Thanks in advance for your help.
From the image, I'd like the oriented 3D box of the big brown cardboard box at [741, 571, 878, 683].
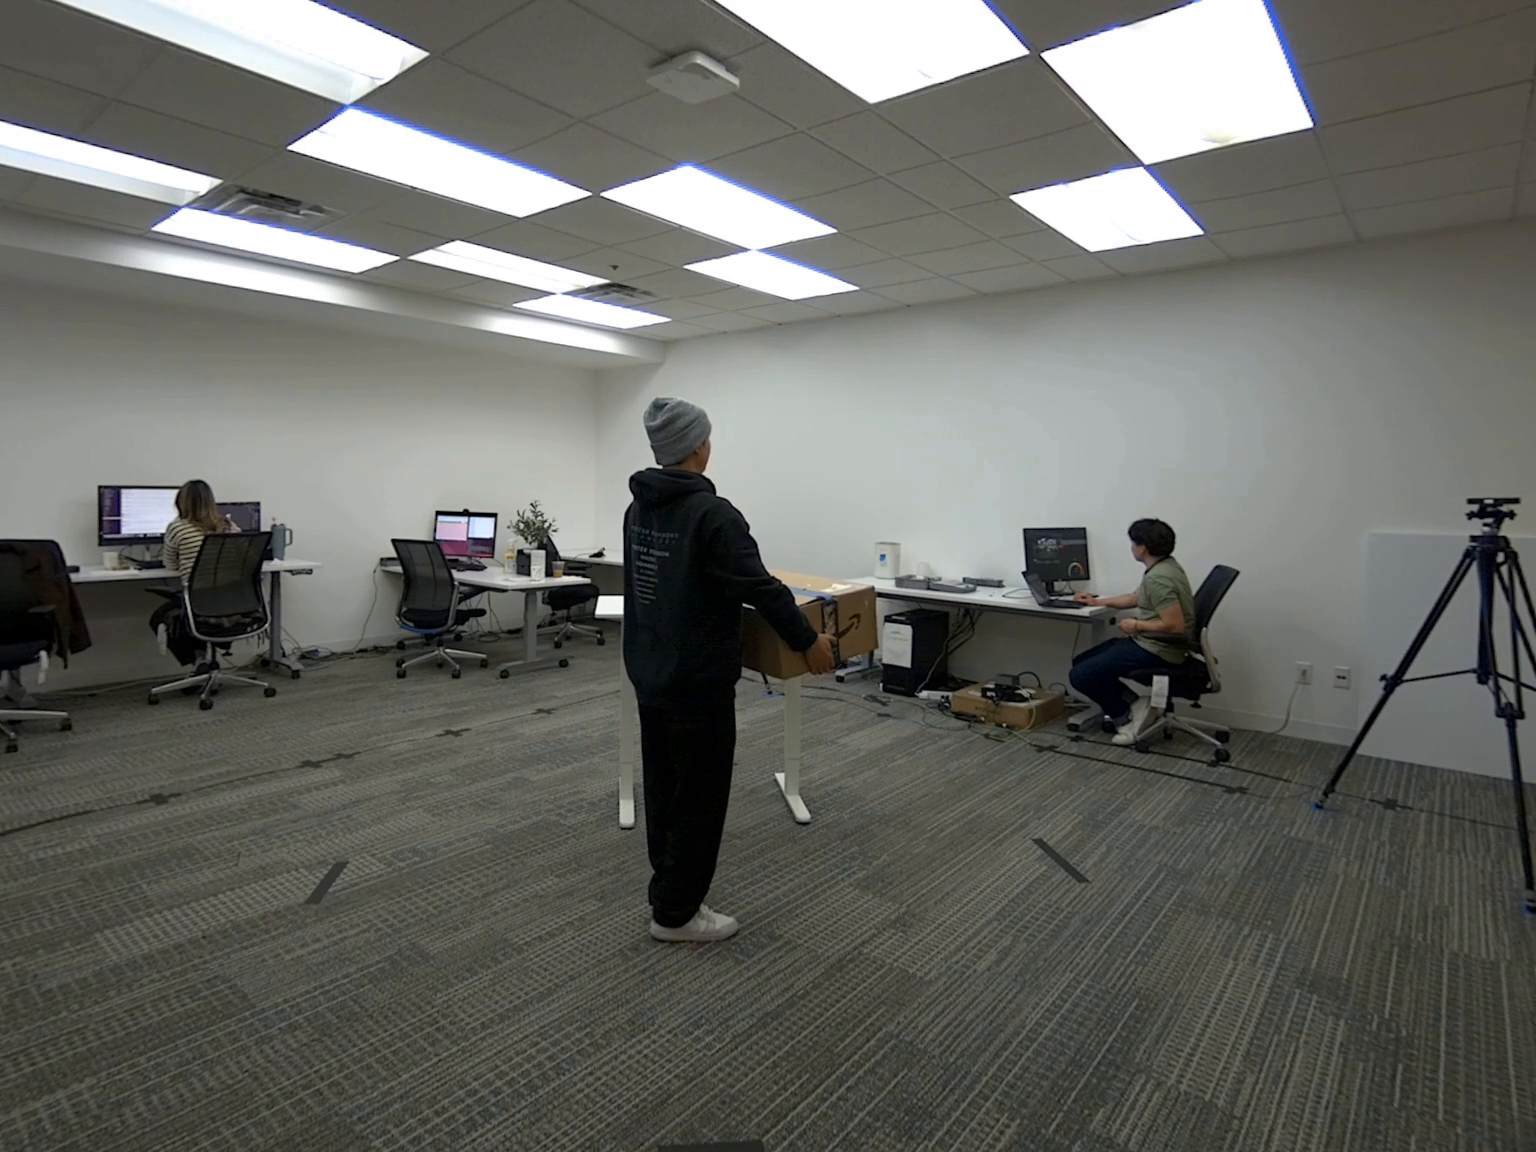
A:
[{"bbox_3d":[0.018,0.146,2.908,0.408,0.231,0.609,-13,13,-35],"label":"big brown cardboard box"}]
